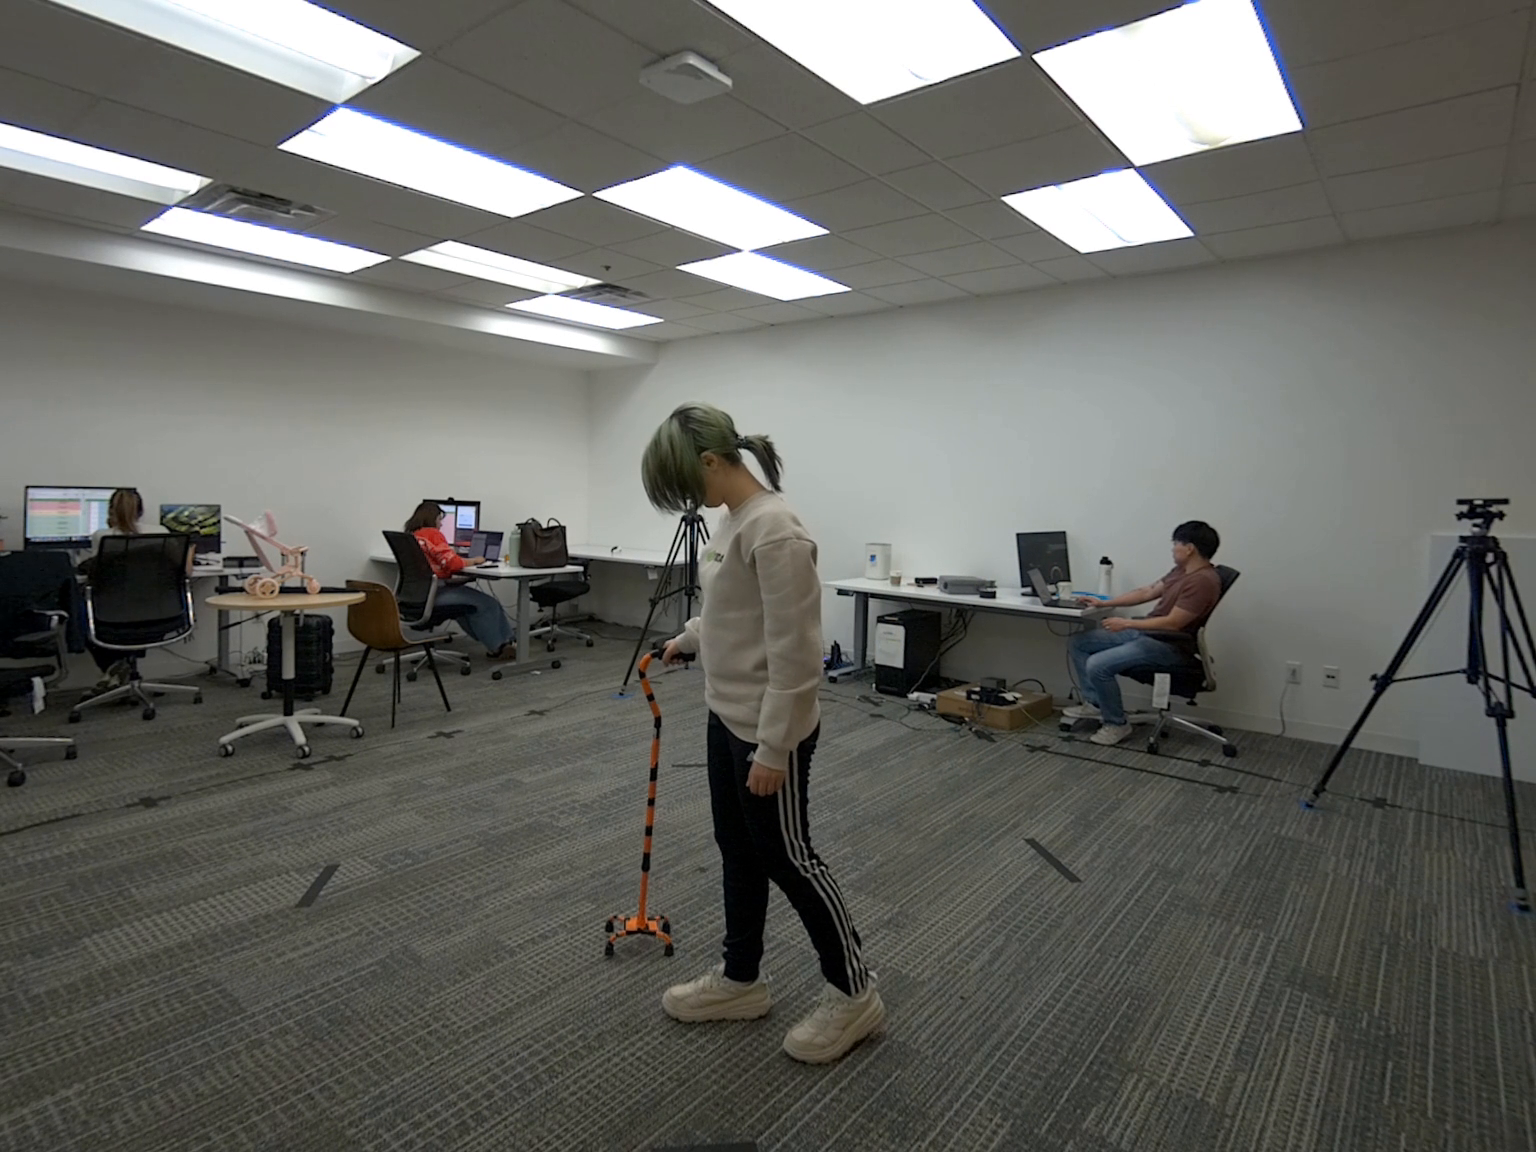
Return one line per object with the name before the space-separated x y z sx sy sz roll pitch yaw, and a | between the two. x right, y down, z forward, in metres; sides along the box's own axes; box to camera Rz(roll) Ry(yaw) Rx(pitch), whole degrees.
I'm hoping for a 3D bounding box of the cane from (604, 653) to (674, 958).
cane | -0.351 0.659 2.544 0.204 0.904 0.154 4 4 -12
